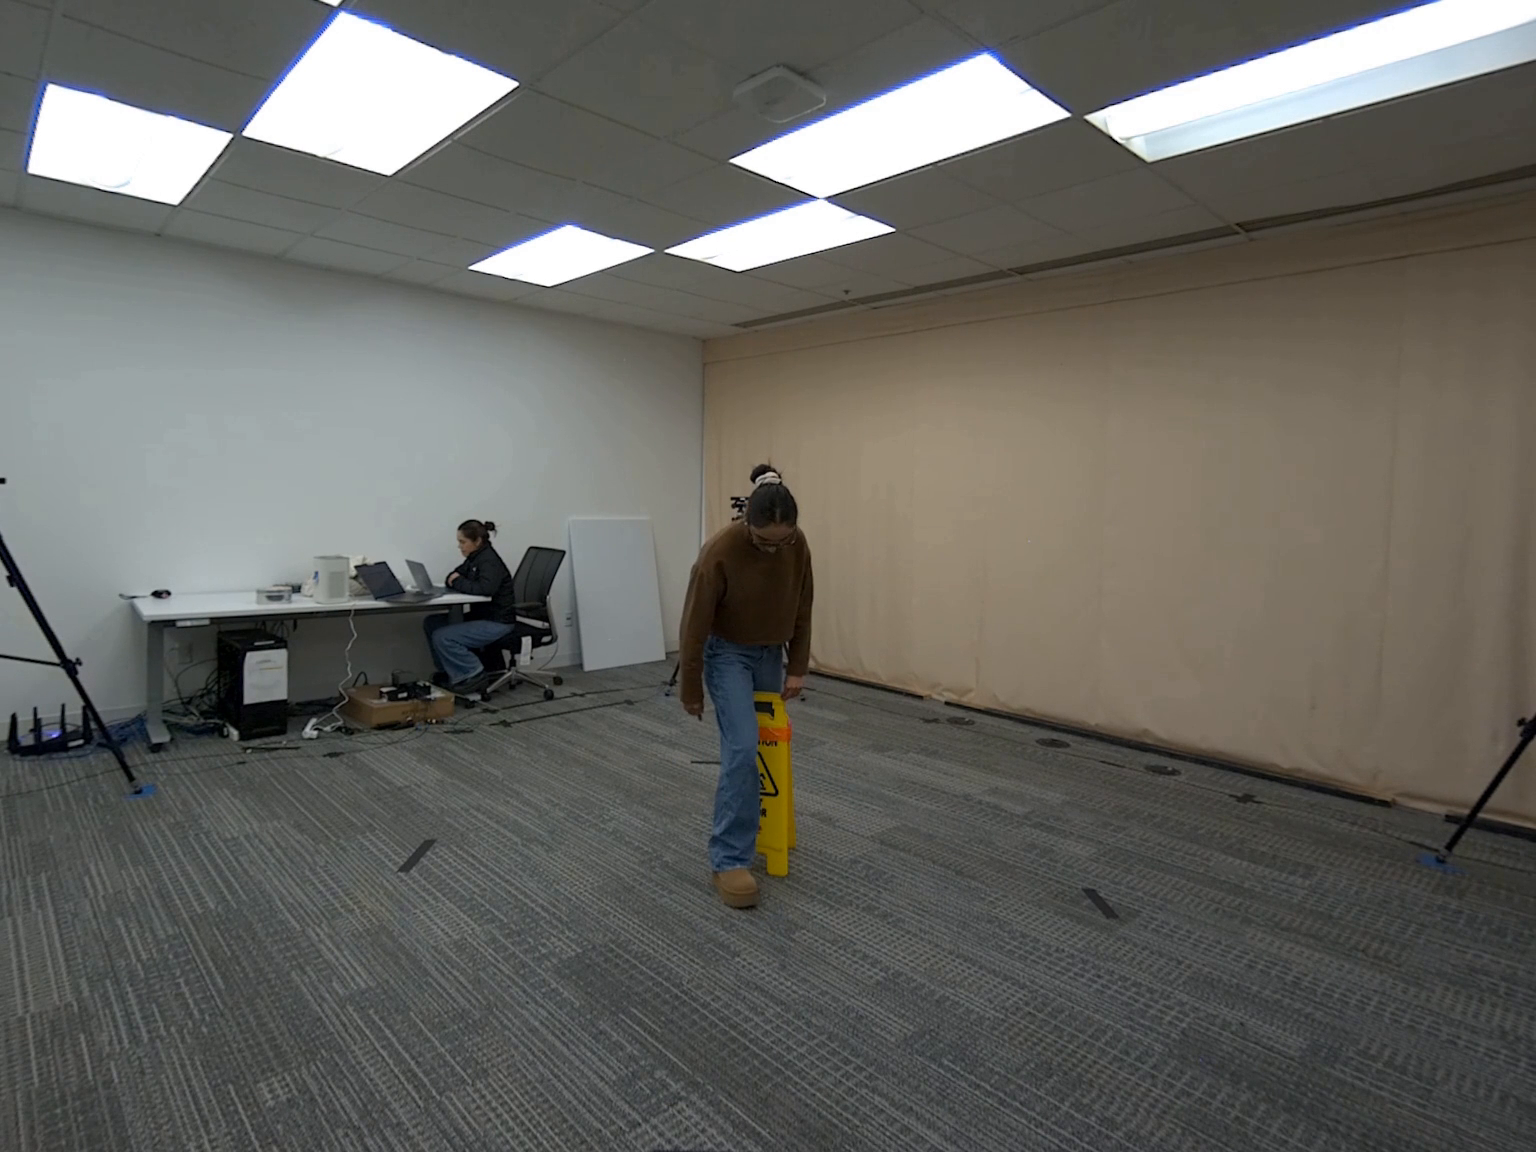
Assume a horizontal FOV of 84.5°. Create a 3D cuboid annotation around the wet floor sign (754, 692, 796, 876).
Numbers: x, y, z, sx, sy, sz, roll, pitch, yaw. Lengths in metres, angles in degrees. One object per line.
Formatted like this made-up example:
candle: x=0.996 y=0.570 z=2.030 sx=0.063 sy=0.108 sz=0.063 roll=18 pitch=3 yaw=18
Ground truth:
wet floor sign: x=-0.041 y=0.778 z=3.256 sx=0.285 sy=0.644 sz=0.287 roll=4 pitch=4 yaw=11
